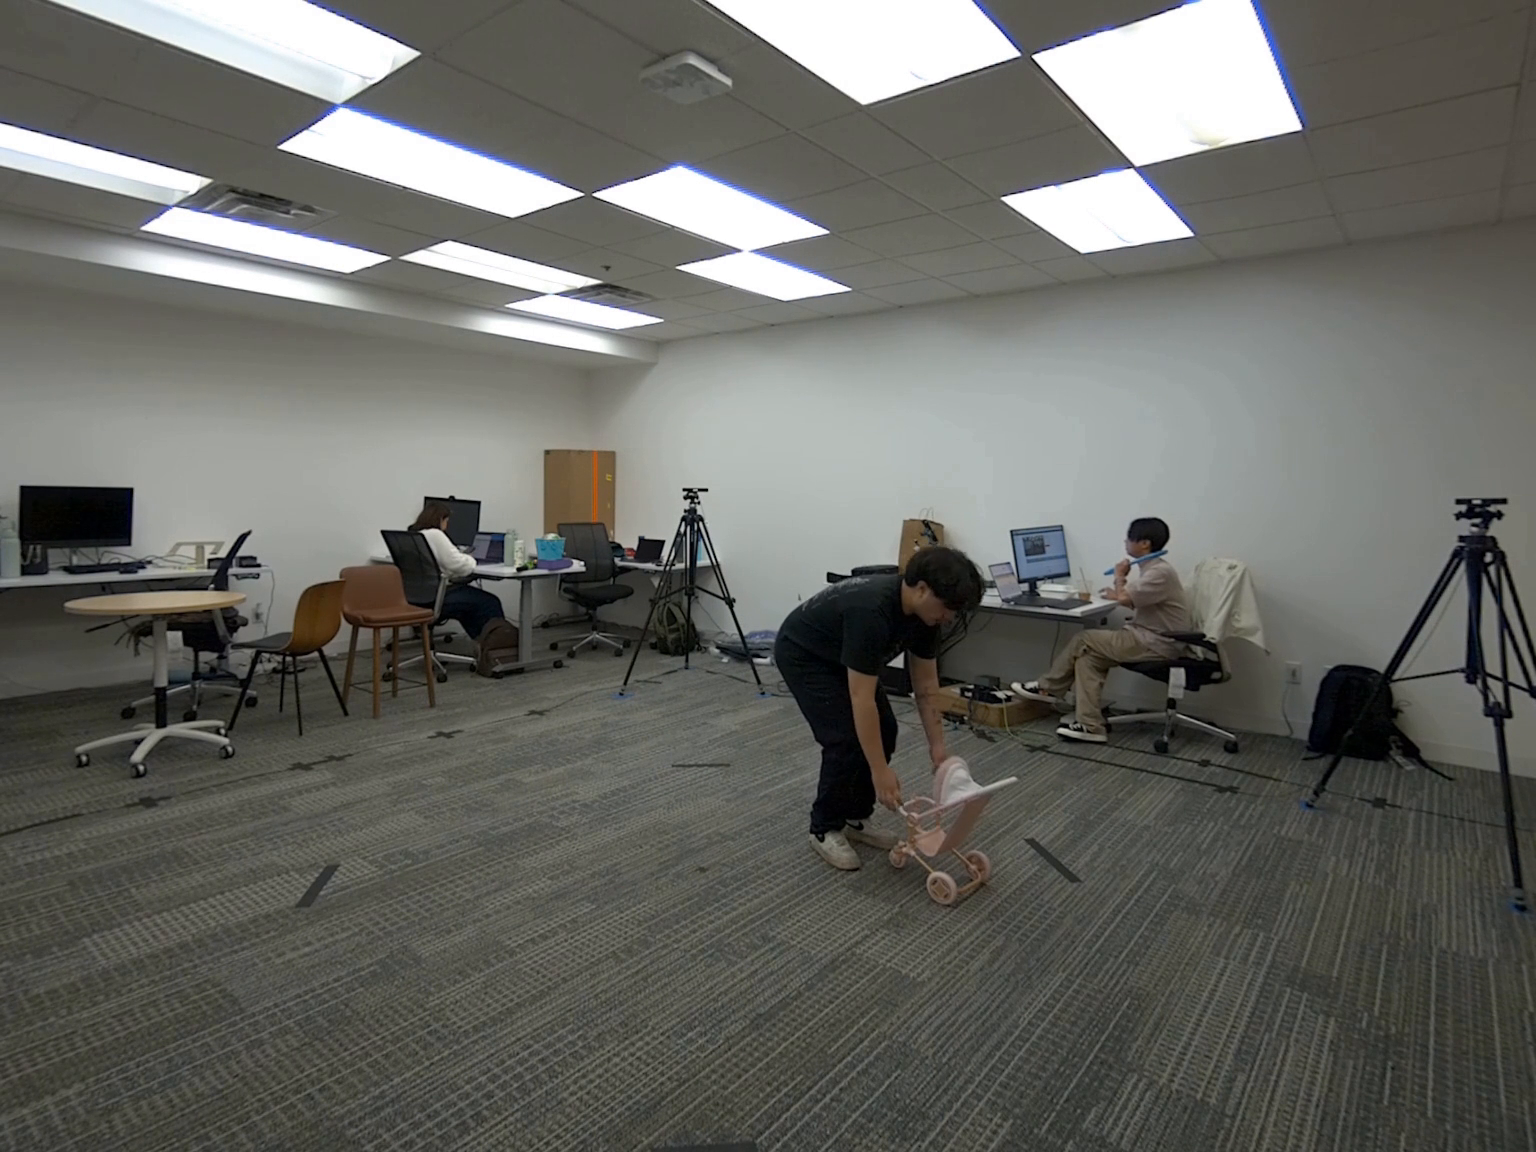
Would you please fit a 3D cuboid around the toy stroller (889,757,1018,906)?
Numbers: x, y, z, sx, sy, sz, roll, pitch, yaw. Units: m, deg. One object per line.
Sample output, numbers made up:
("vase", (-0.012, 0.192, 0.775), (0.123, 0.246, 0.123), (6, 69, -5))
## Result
("toy stroller", (0.627, 0.879, 3.019), (0.273, 0.530, 0.355), (-1, 19, -43))
